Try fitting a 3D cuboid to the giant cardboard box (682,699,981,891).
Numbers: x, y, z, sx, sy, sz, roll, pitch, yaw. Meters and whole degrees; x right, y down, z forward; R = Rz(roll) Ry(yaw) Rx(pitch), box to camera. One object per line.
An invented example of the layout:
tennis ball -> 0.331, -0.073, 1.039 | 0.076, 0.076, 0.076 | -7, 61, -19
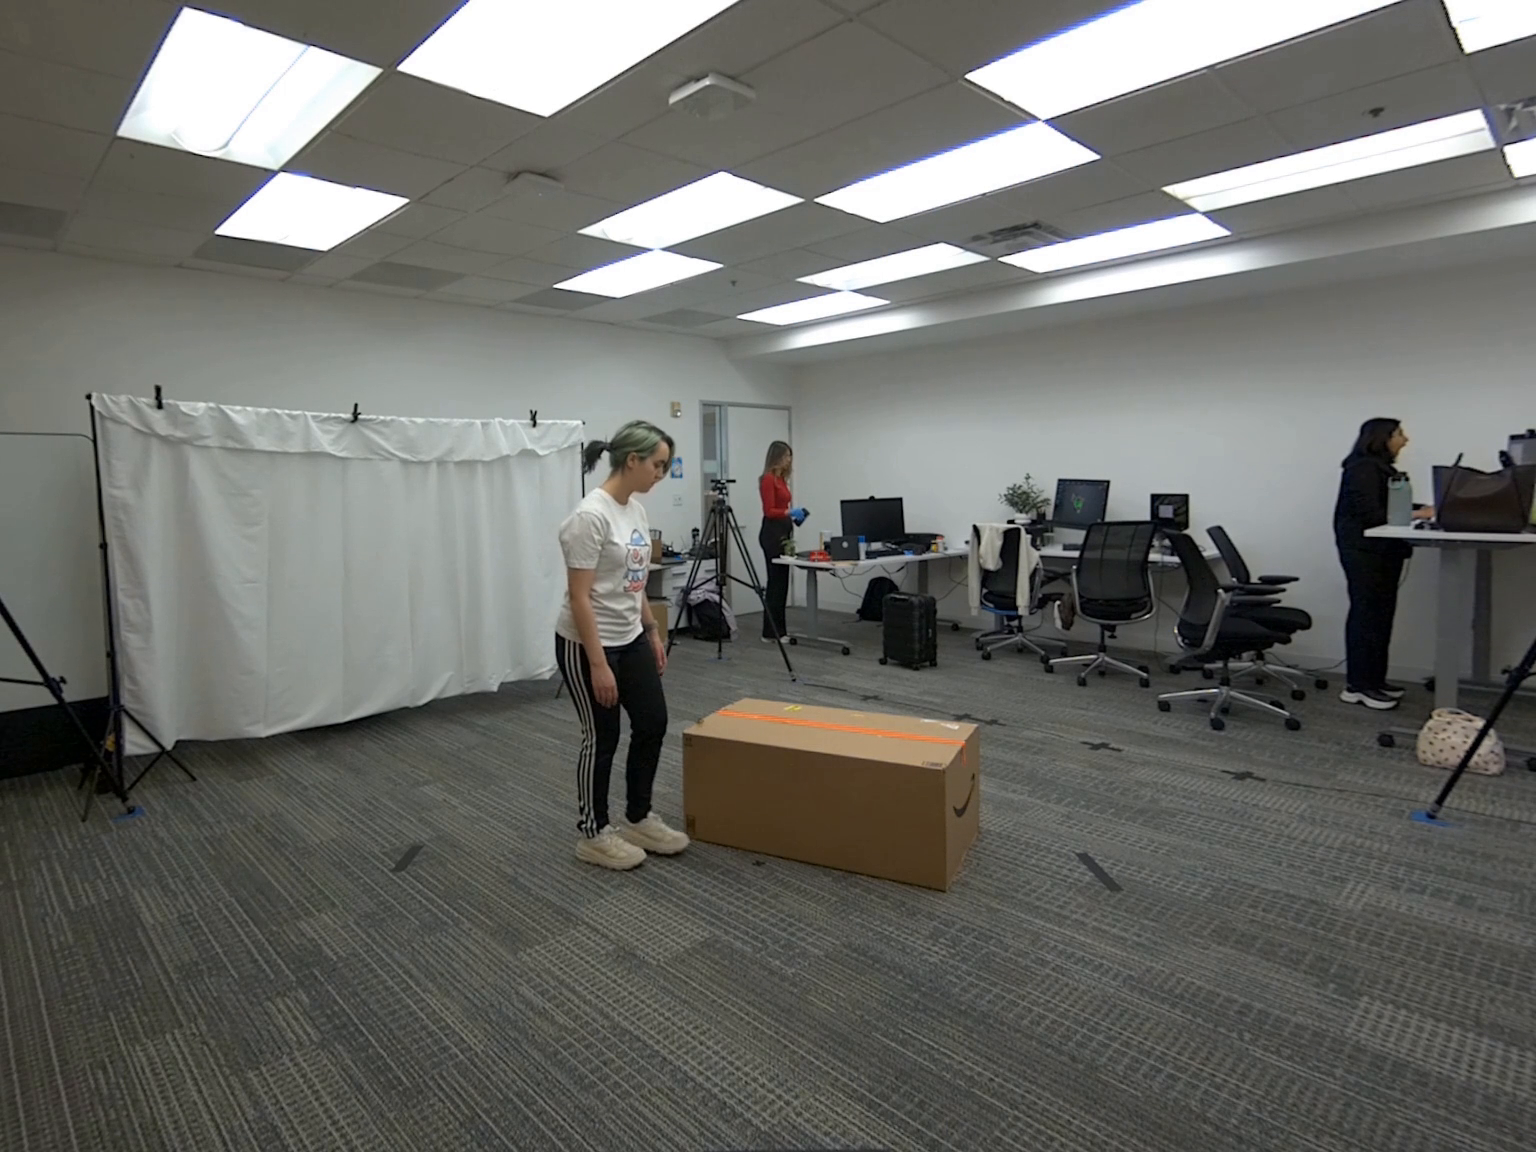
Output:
giant cardboard box -> 0.249, 0.799, 3.341 | 1.051, 0.425, 0.566 | 2, 5, 27
